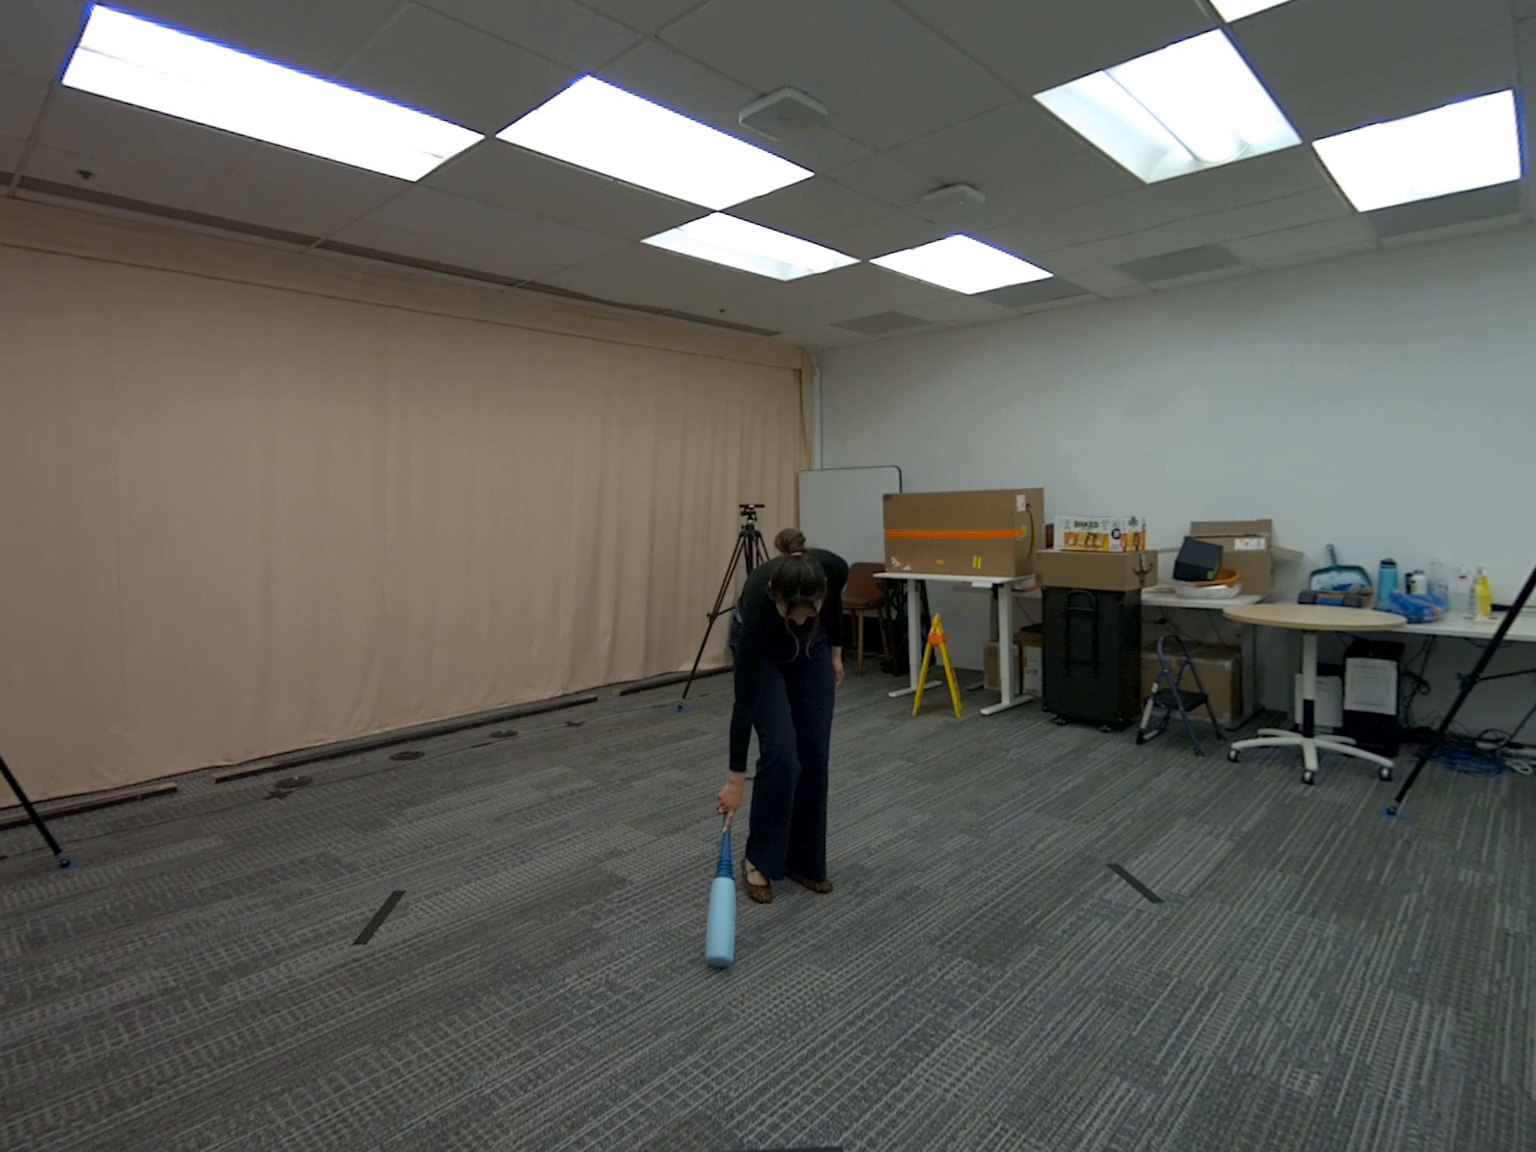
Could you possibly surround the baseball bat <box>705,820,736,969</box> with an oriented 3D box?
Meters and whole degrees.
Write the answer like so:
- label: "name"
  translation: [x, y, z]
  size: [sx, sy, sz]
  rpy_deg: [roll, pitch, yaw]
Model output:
- label: "baseball bat"
  translation: [-0.135, 0.965, 2.691]
  size: [0.089, 0.087, 0.552]
  rpy_deg: [-1, 46, 4]
